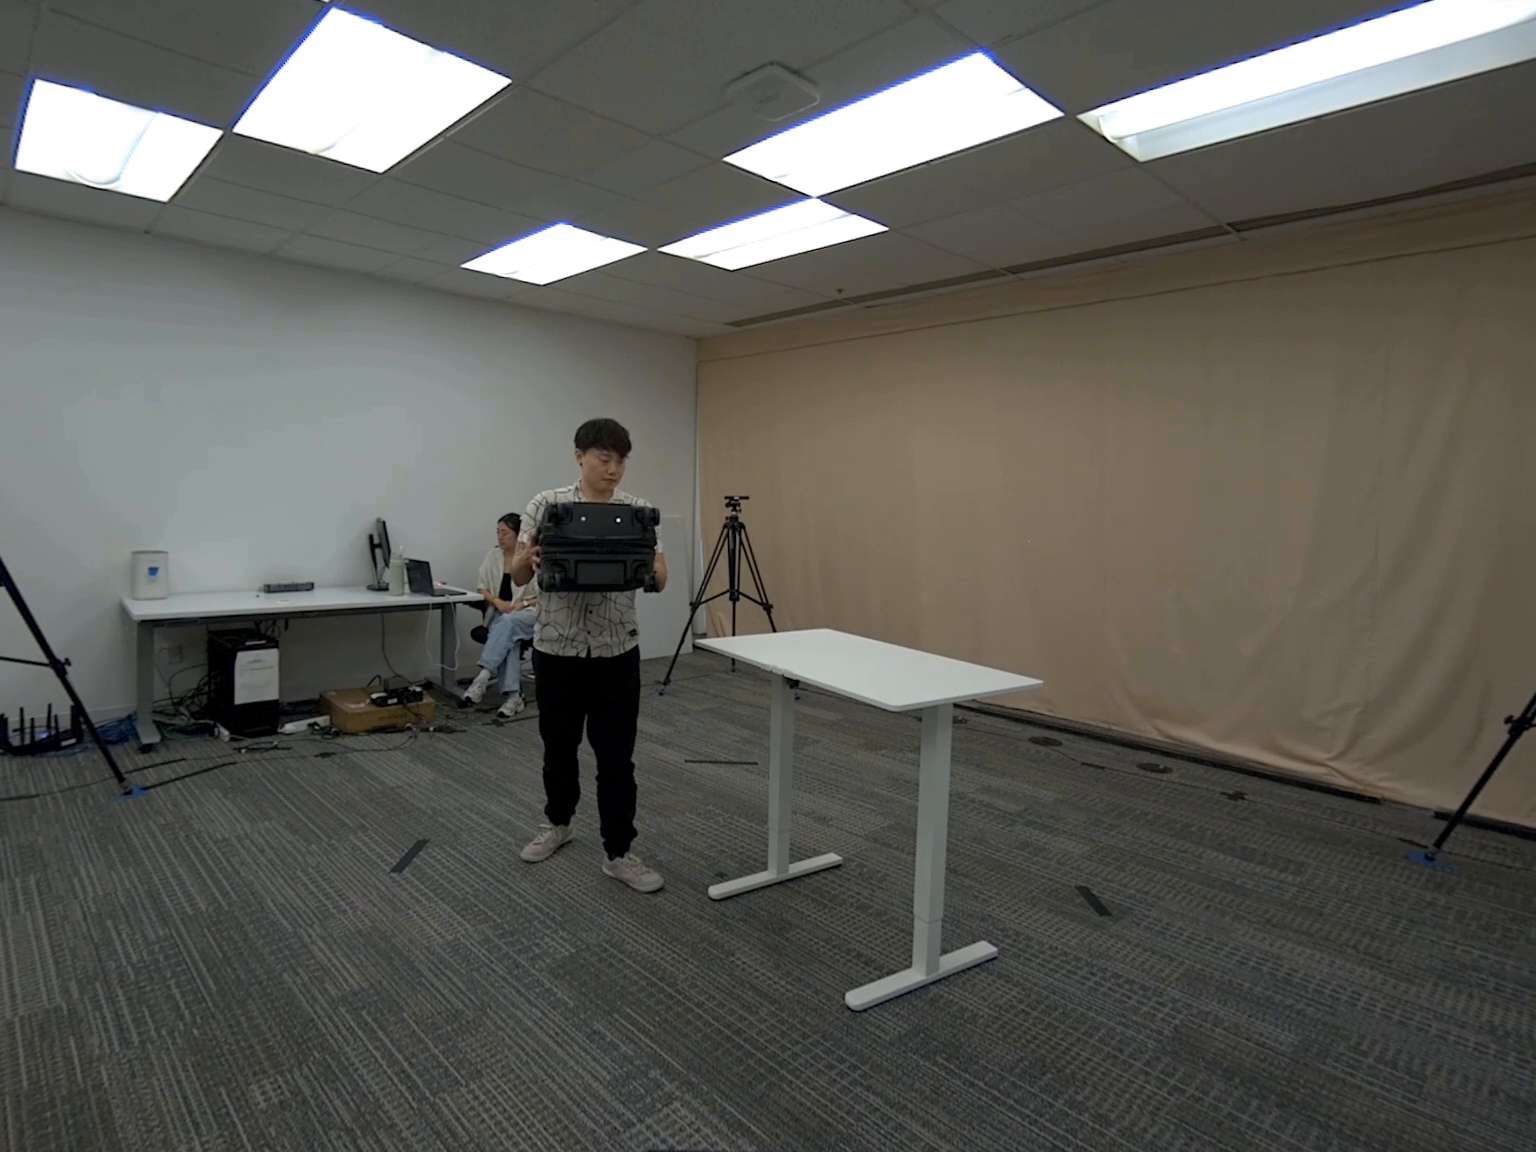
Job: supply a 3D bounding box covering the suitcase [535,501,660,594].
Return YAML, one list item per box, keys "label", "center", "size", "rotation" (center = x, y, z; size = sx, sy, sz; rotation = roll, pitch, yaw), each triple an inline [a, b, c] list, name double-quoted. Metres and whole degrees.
- label: "suitcase"
  center: [-0.581, -0.081, 2.726]
  size: [0.370, 0.249, 0.555]
  rotation: [-1, -3, -18]
